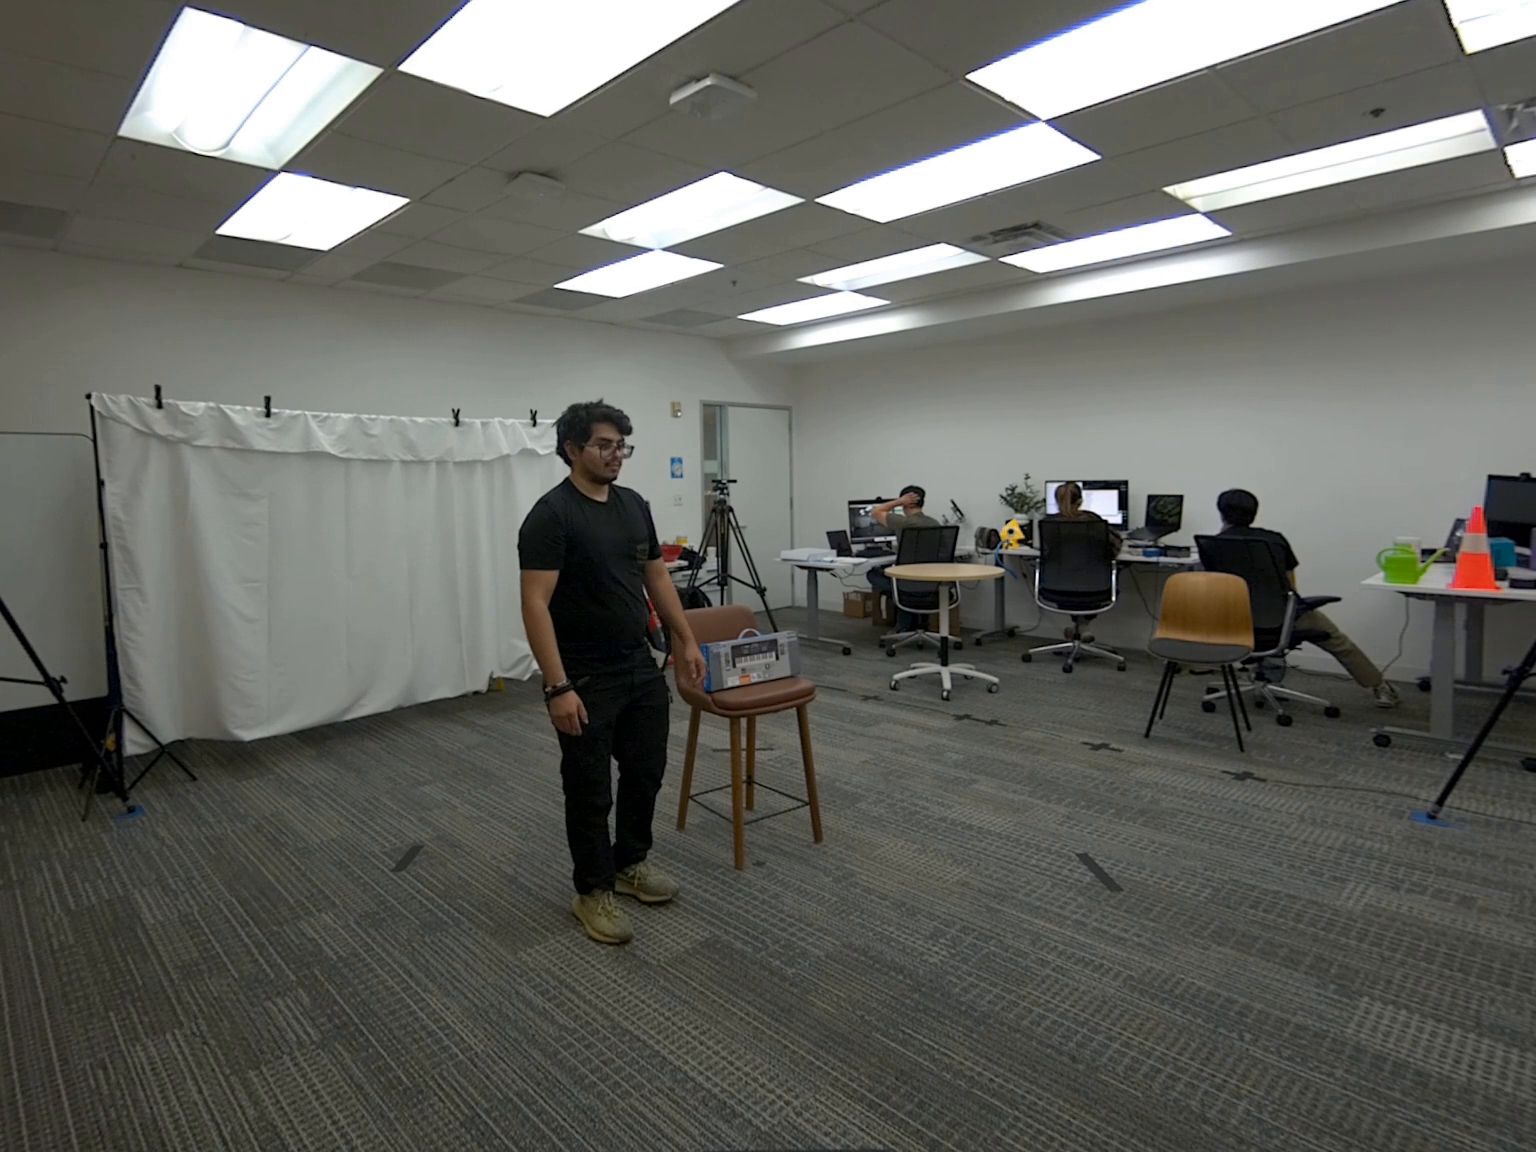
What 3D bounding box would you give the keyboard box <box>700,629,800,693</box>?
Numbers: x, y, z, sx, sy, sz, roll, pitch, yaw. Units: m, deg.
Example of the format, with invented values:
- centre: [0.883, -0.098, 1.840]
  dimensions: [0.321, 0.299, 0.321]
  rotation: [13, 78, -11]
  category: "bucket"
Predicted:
- centre: [-0.063, 0.325, 3.303]
  dimensions: [0.426, 0.176, 0.060]
  rotation: [-6, -1, -35]
  category: "keyboard box"
